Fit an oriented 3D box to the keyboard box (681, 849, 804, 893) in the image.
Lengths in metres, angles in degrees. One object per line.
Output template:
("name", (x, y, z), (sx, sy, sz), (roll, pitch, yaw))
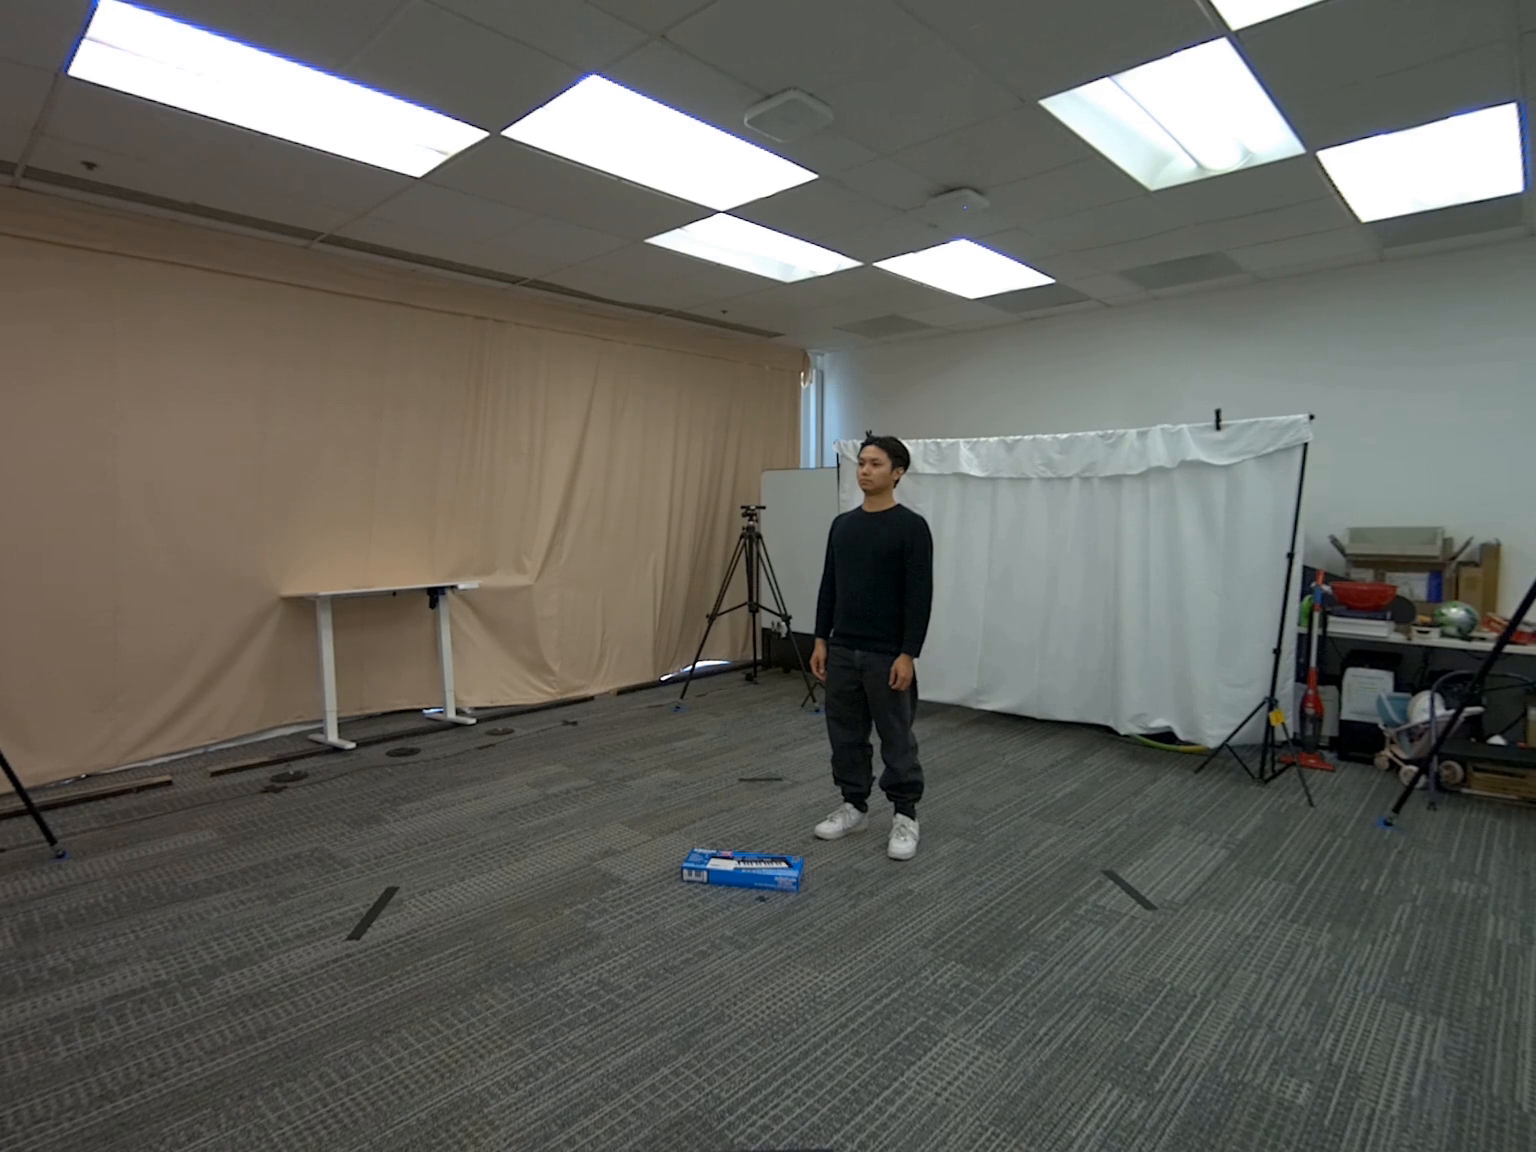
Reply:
("keyboard box", (-0.091, 1.099, 3.153), (0.443, 0.059, 0.174), (0, 5, 12))
